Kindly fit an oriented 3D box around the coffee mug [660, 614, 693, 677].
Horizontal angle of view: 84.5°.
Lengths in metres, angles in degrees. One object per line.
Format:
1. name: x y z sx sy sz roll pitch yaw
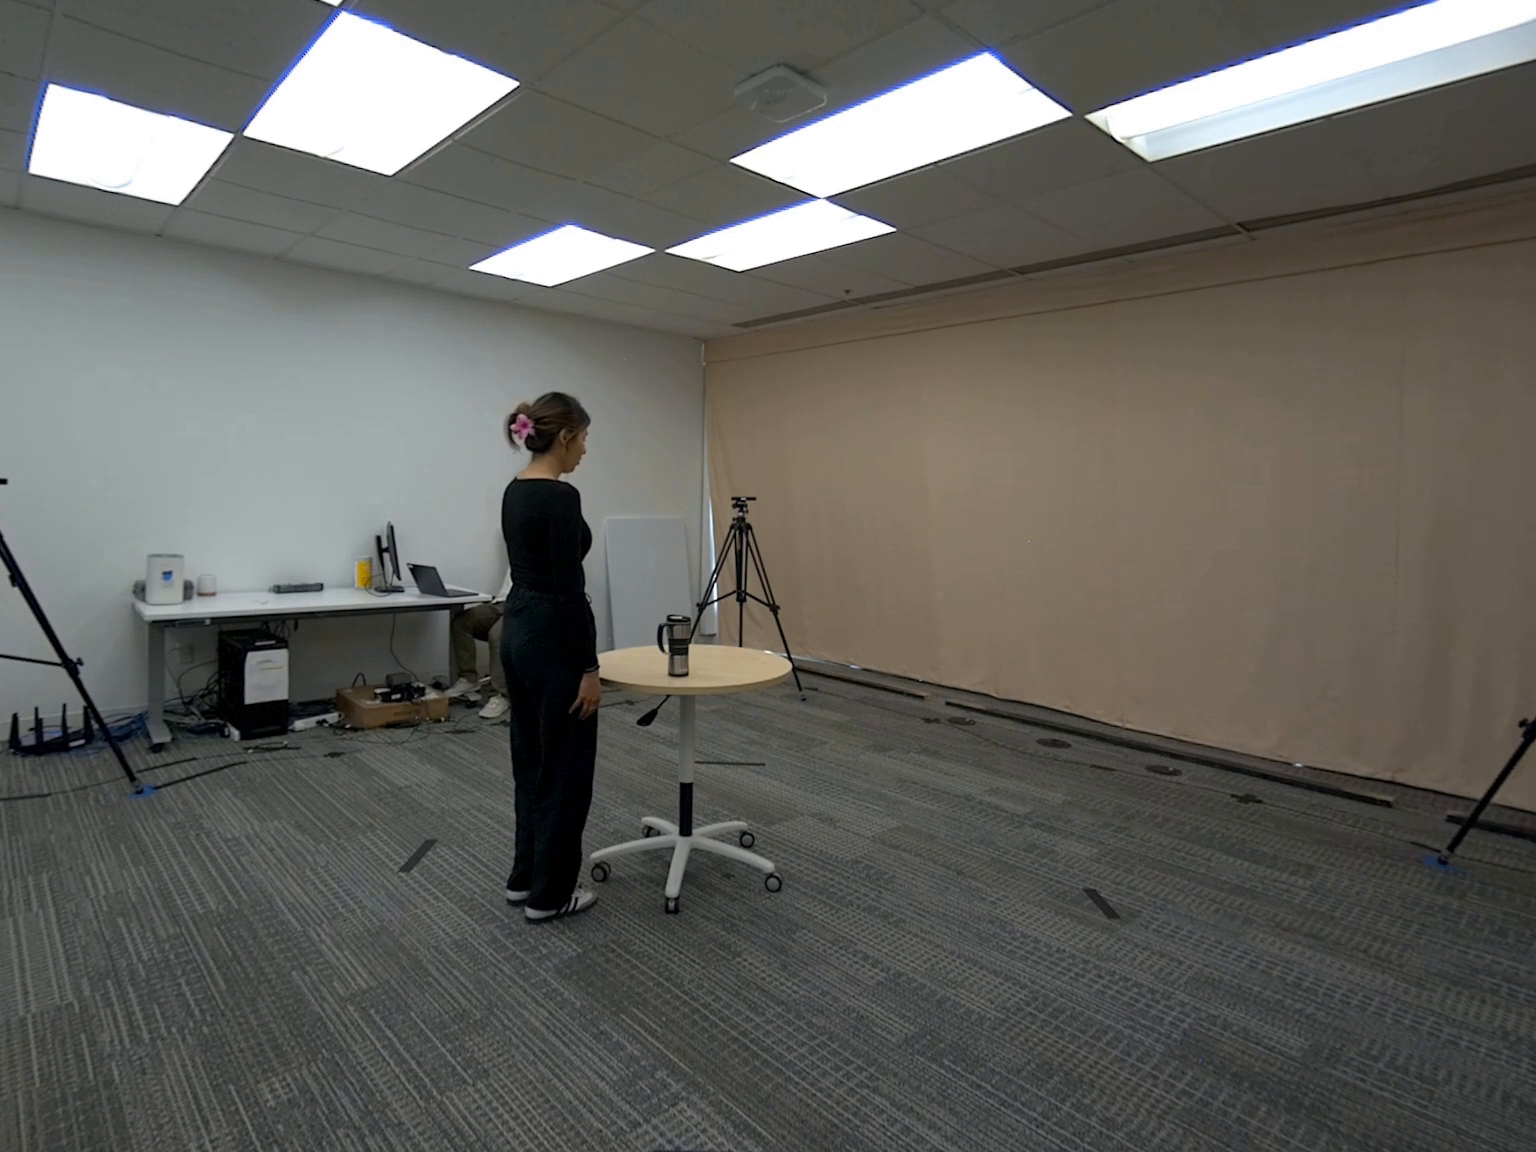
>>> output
1. coffee mug: -0.335 0.241 2.863 0.120 0.202 0.090 2 6 -26
